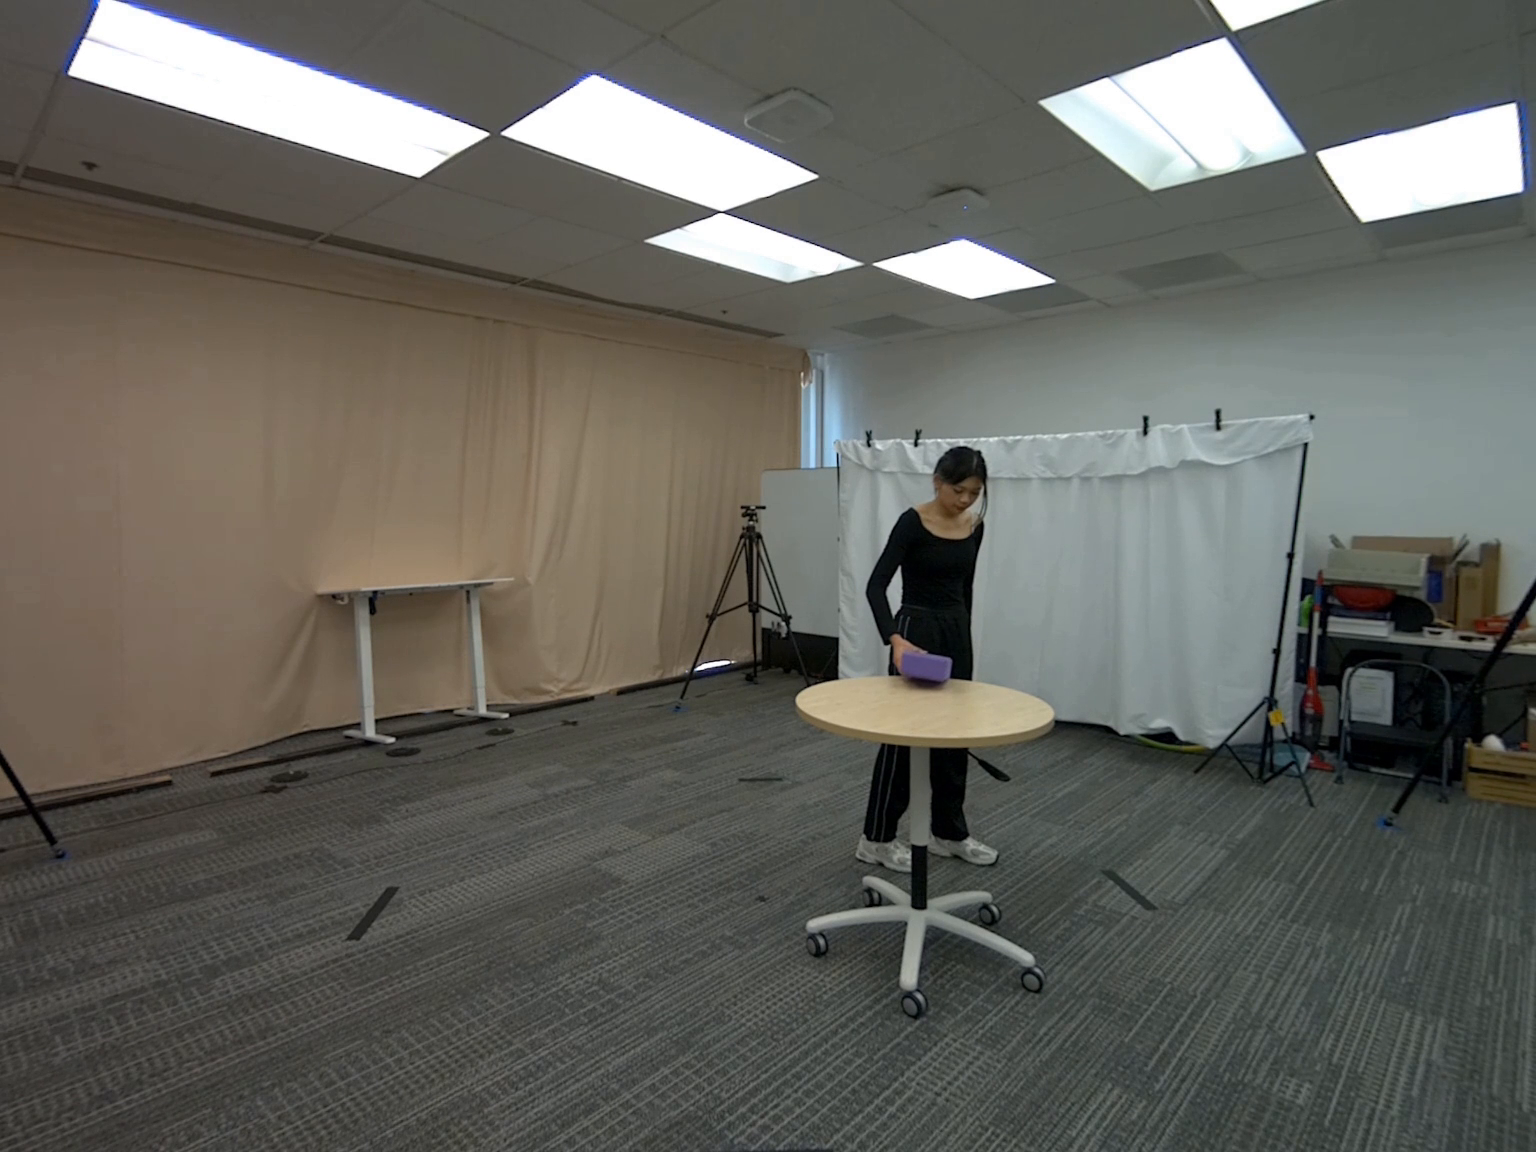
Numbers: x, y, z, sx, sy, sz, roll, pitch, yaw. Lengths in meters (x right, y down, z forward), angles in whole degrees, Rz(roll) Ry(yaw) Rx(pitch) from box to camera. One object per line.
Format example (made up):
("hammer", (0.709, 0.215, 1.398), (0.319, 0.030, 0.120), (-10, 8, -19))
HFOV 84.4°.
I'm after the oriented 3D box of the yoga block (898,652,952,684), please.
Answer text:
("yoga block", (0.532, 0.299, 2.855), (0.150, 0.076, 0.227), (9, 1, 7))
